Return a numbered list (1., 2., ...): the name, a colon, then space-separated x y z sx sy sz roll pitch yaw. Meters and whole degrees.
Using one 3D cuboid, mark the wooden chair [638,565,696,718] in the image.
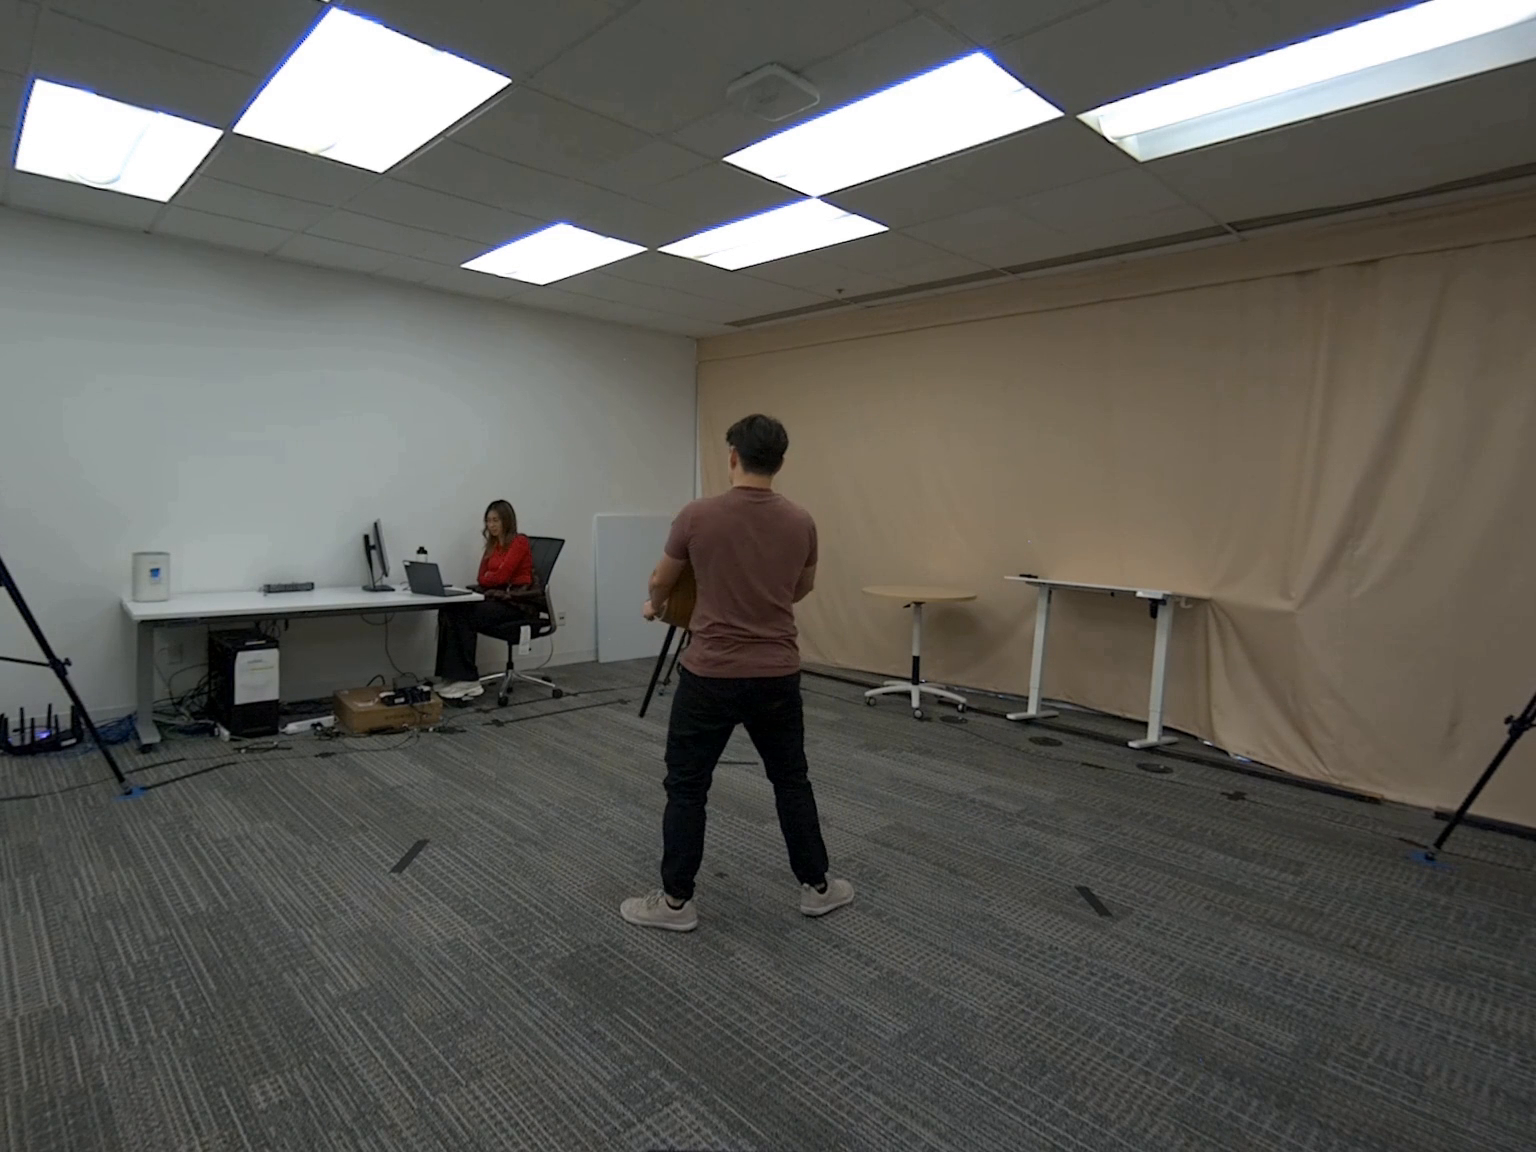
1. wooden chair: -0.213 0.189 3.171 0.471 0.870 0.535 1 13 -19
